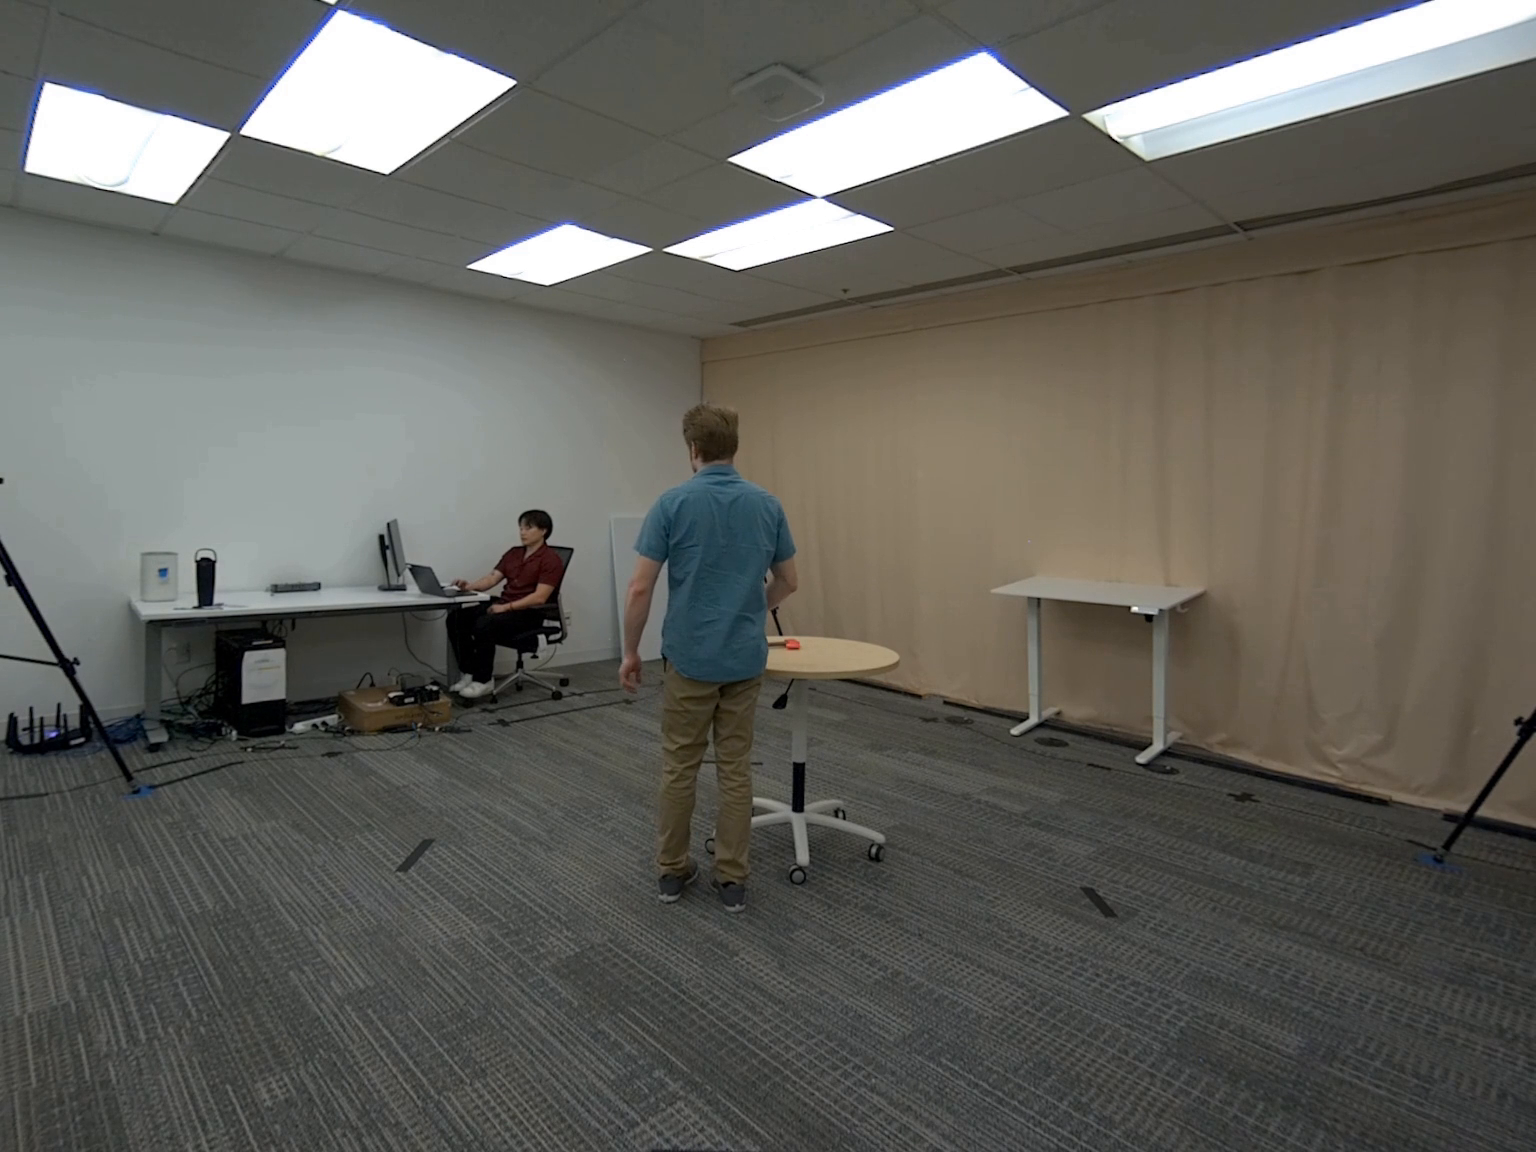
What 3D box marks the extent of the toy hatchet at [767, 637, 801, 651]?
[{"bbox_3d":[0.018,0.291,3.401,0.264,0.029,0.135,-7,14,-41],"label":"toy hatchet"}]
